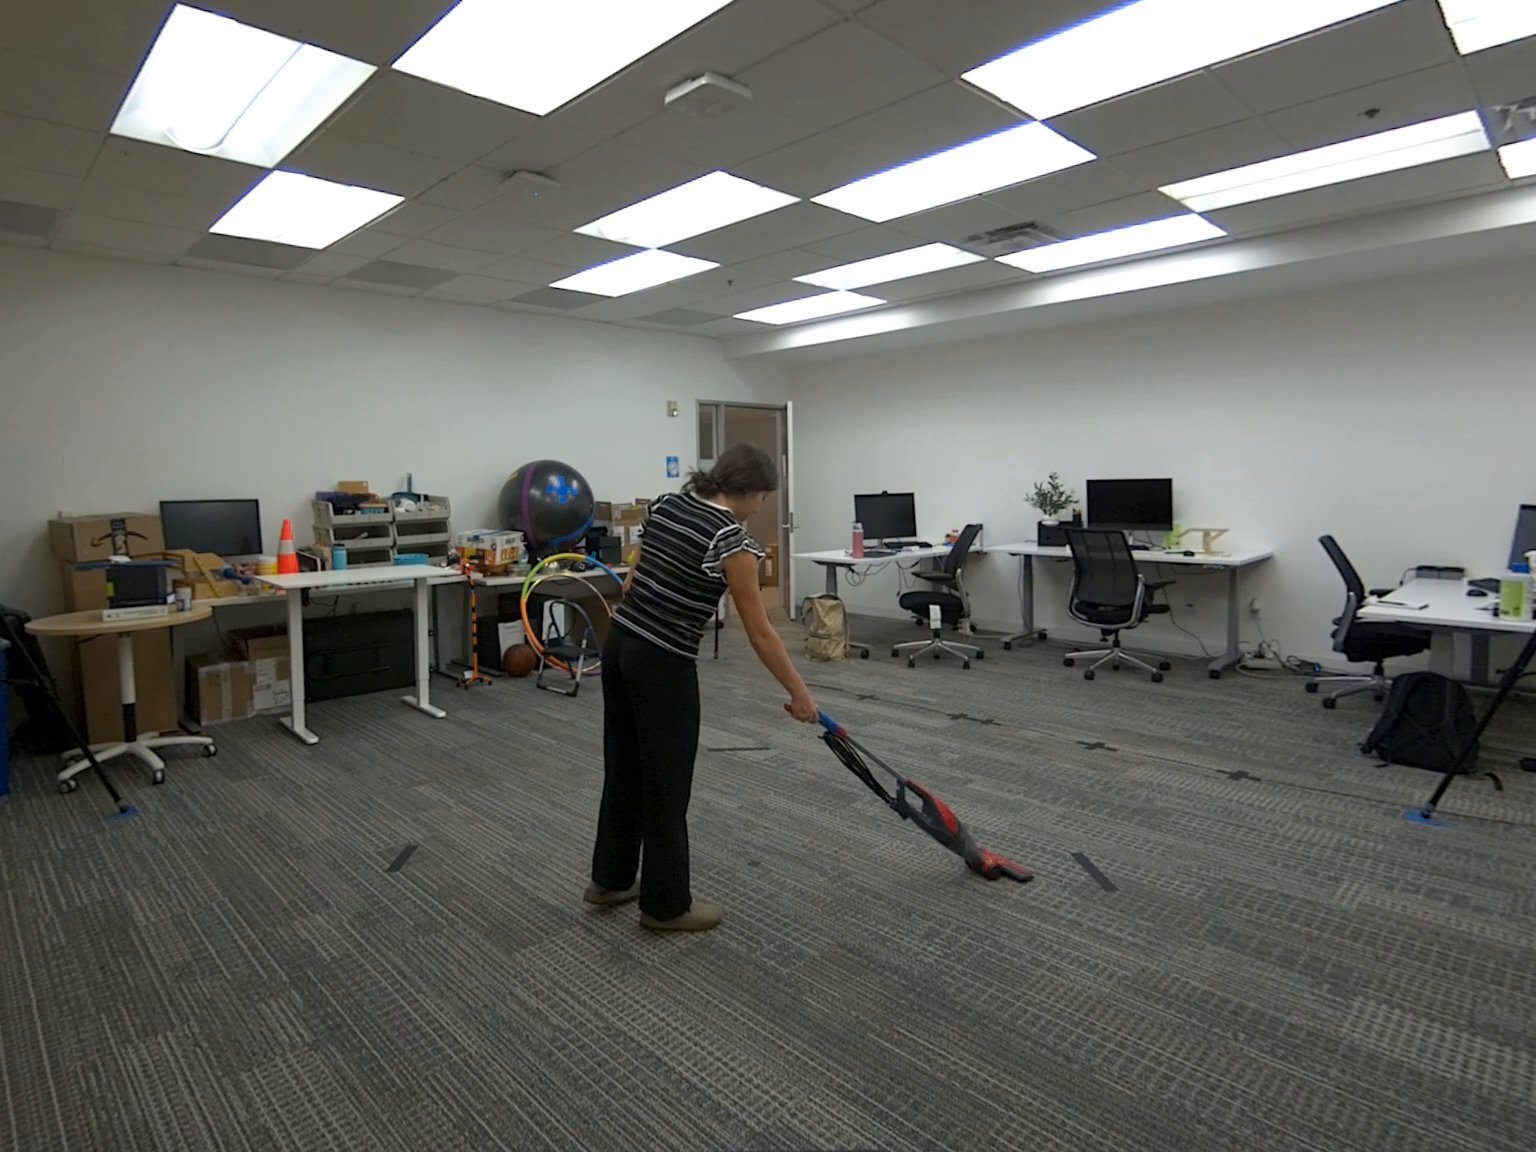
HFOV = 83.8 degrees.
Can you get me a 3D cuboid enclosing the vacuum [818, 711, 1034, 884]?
[{"bbox_3d":[0.432,0.723,2.846,1.023,0.144,0.258,39,-19,-20],"label":"vacuum"}]
